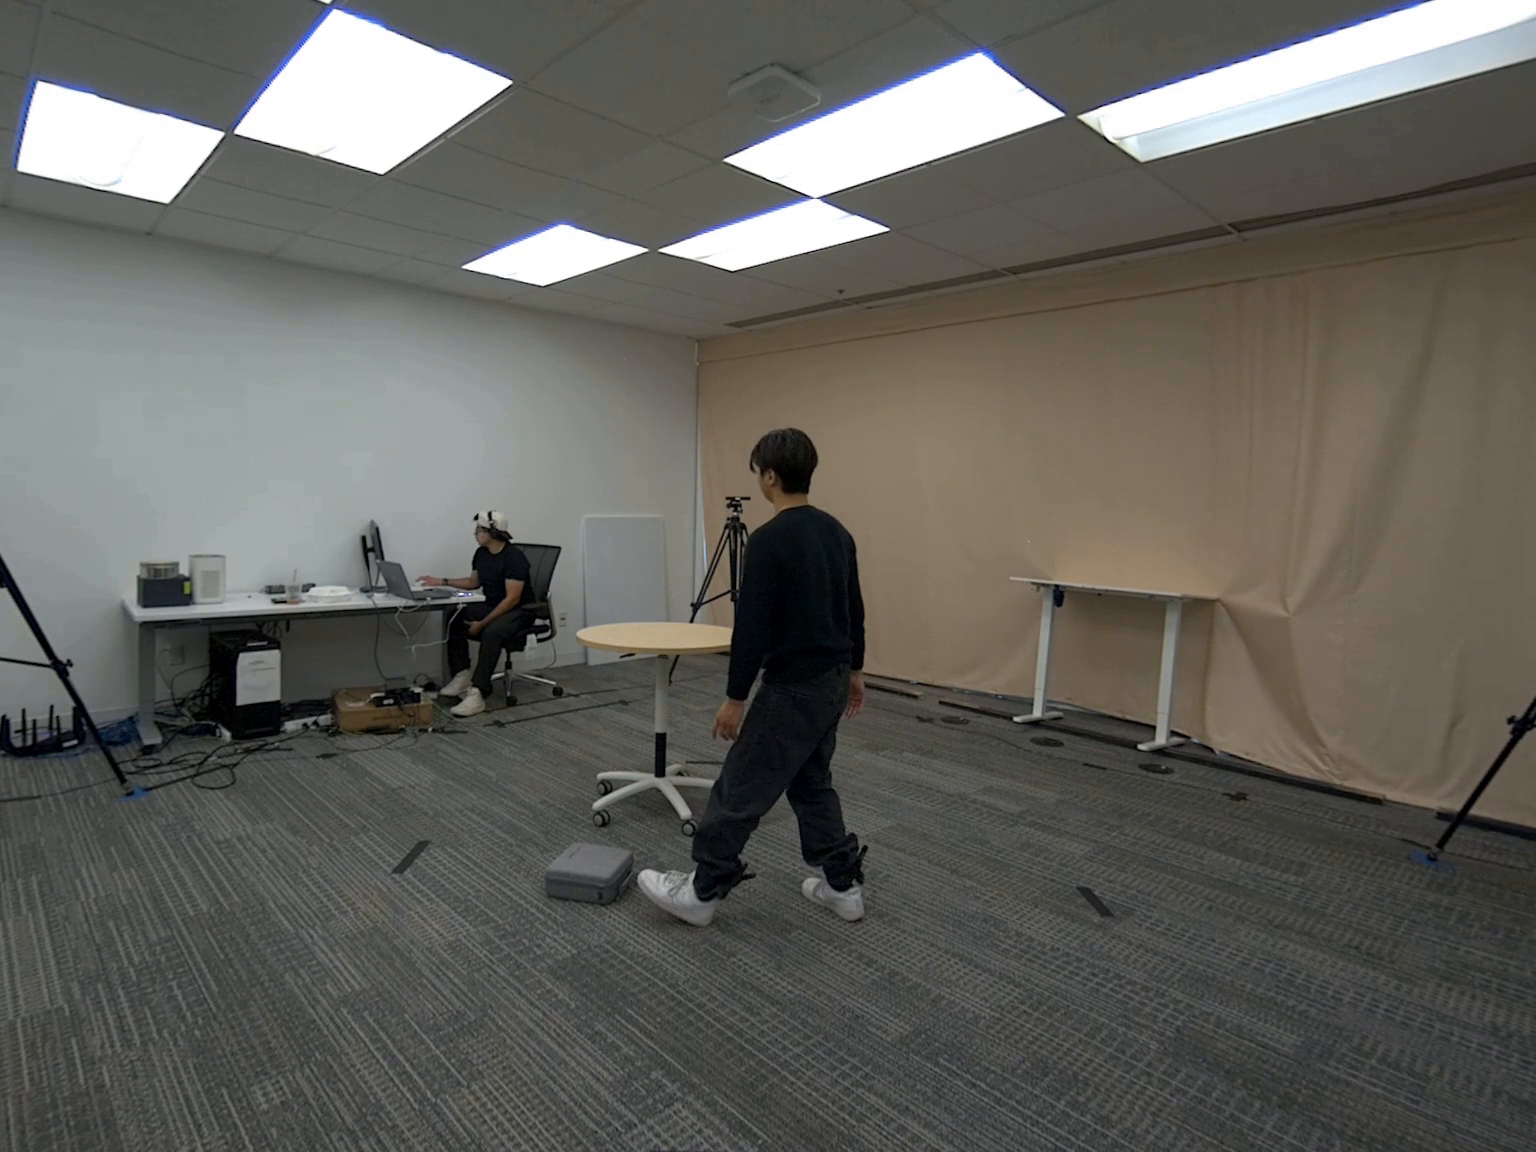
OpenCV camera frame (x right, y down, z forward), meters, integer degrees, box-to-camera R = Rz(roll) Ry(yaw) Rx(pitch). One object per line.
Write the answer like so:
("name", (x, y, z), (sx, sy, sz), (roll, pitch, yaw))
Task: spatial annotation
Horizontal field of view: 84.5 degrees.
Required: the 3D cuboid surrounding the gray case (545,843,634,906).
("gray case", (-0.630, 1.043, 2.997), (0.264, 0.104, 0.255), (3, 5, 13))
